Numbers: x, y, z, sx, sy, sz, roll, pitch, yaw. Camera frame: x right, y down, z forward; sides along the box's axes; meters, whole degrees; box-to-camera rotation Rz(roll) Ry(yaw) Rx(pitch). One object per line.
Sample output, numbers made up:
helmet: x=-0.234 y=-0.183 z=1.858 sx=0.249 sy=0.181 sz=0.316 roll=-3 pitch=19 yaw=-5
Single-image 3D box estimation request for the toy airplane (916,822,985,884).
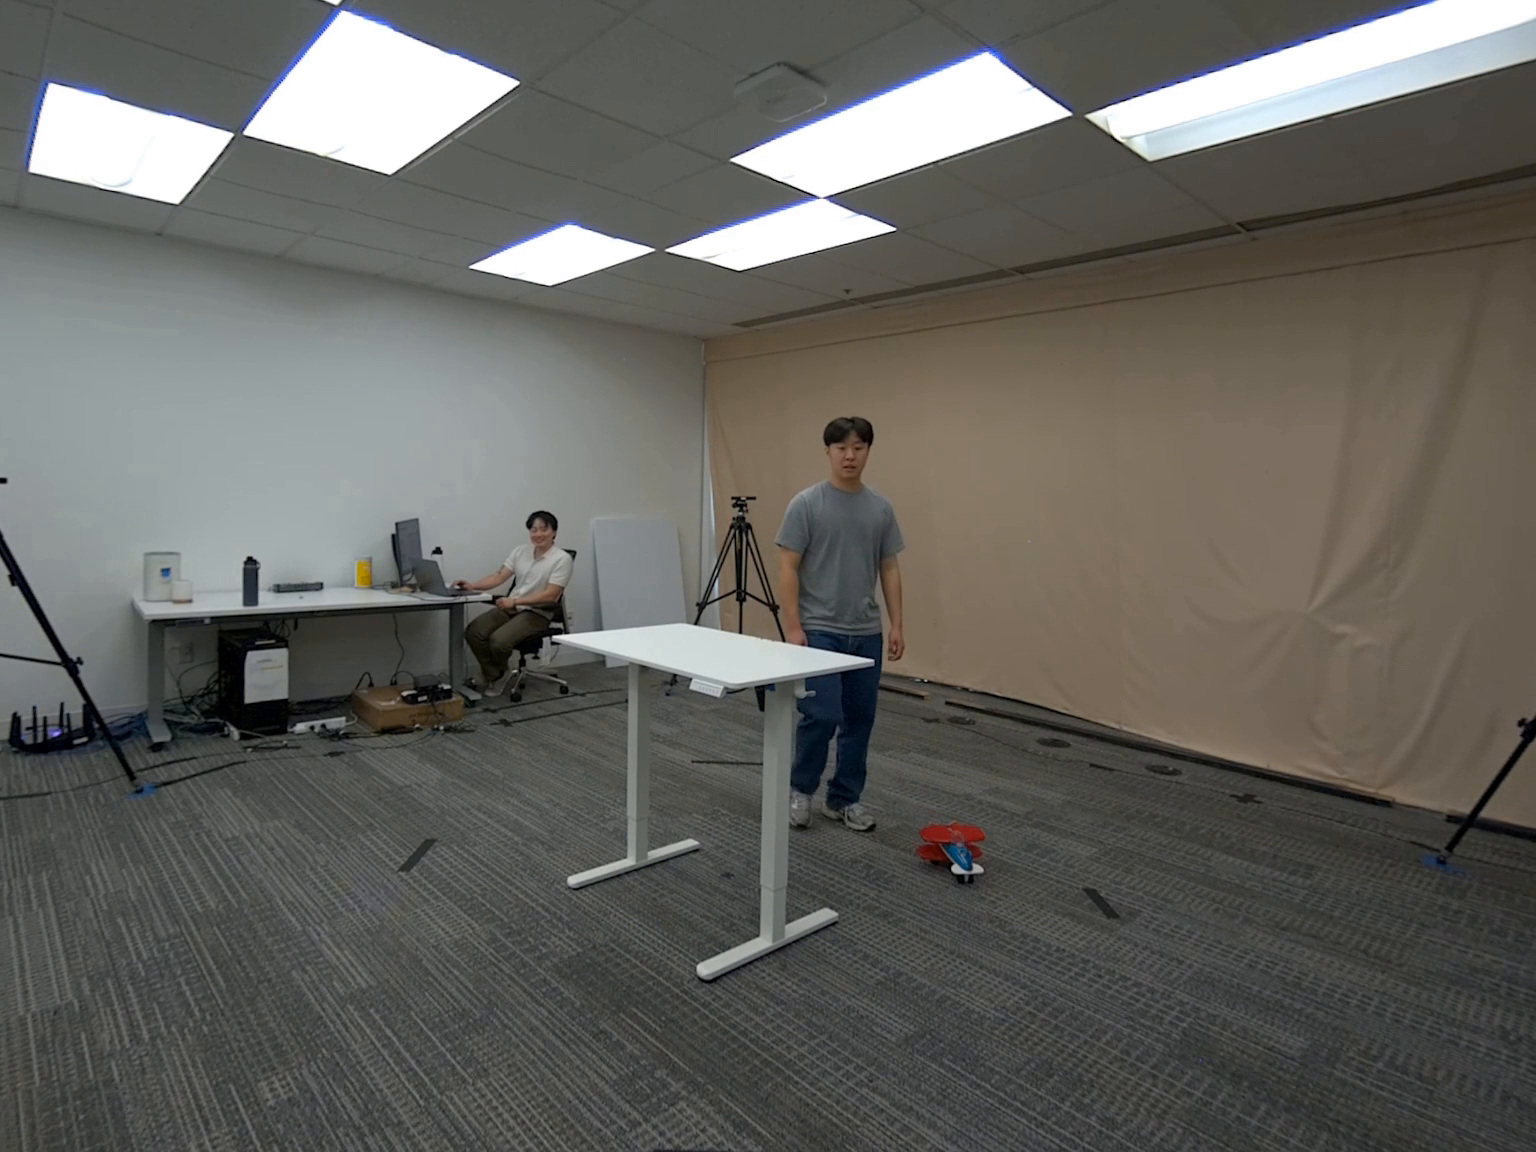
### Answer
toy airplane: x=0.720 y=1.048 z=3.187 sx=0.245 sy=0.156 sz=0.266 roll=-2 pitch=5 yaw=-40
